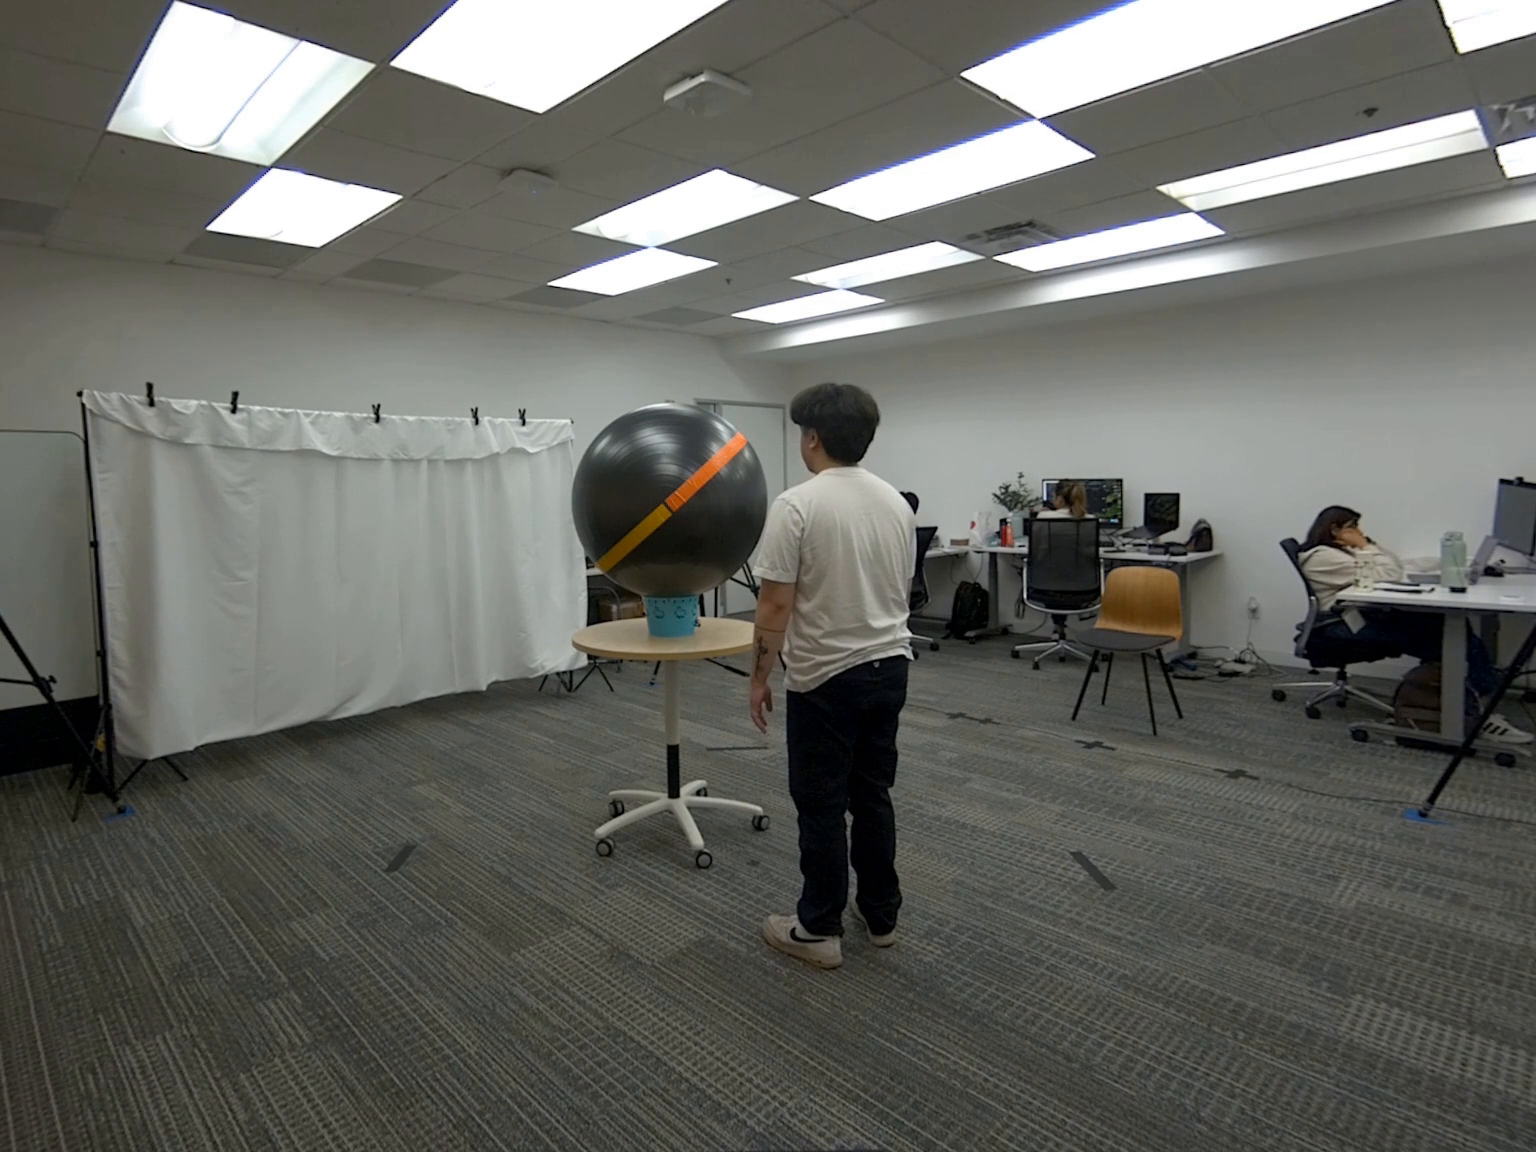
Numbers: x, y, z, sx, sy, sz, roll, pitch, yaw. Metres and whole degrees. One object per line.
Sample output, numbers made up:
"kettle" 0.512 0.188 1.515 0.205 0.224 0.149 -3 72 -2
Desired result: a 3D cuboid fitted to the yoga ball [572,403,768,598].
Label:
"yoga ball" -0.383 -0.285 3.321 0.757 0.755 0.762 -1 5 -2
